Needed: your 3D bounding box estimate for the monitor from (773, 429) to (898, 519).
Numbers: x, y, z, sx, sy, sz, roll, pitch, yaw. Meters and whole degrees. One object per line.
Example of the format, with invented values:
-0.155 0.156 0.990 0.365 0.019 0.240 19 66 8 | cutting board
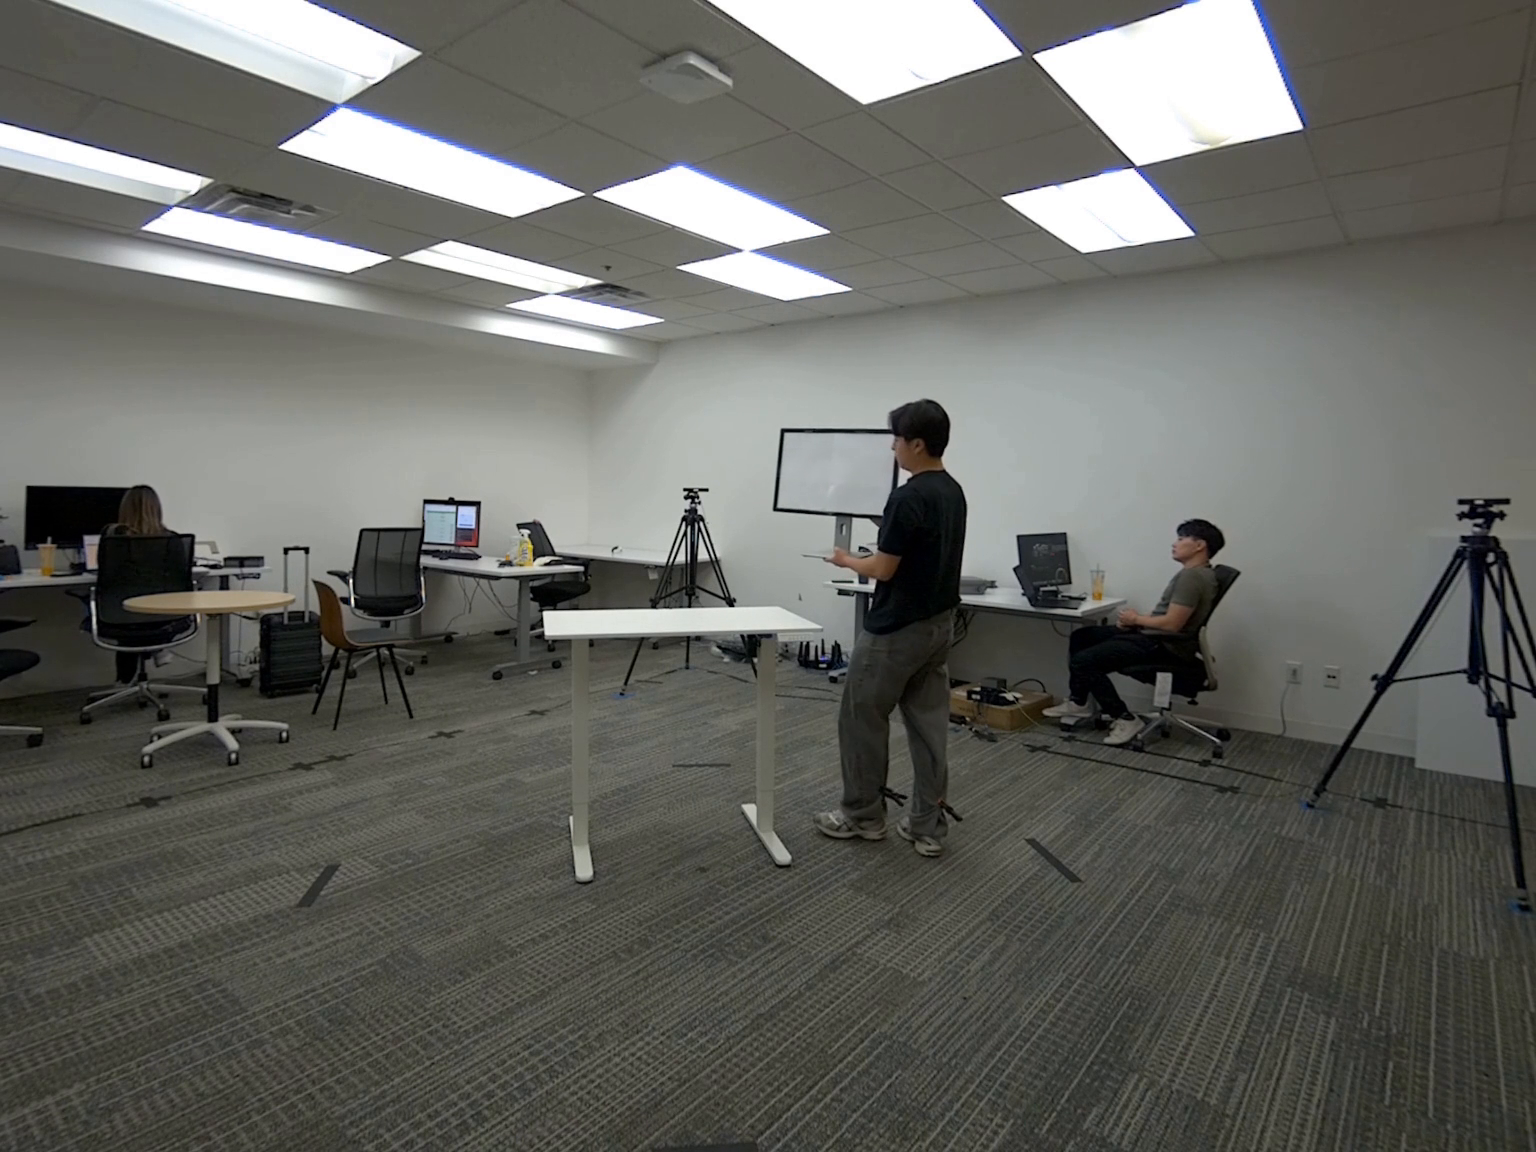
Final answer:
0.286 -0.339 3.577 0.581 0.559 0.217 7 15 36 | monitor
